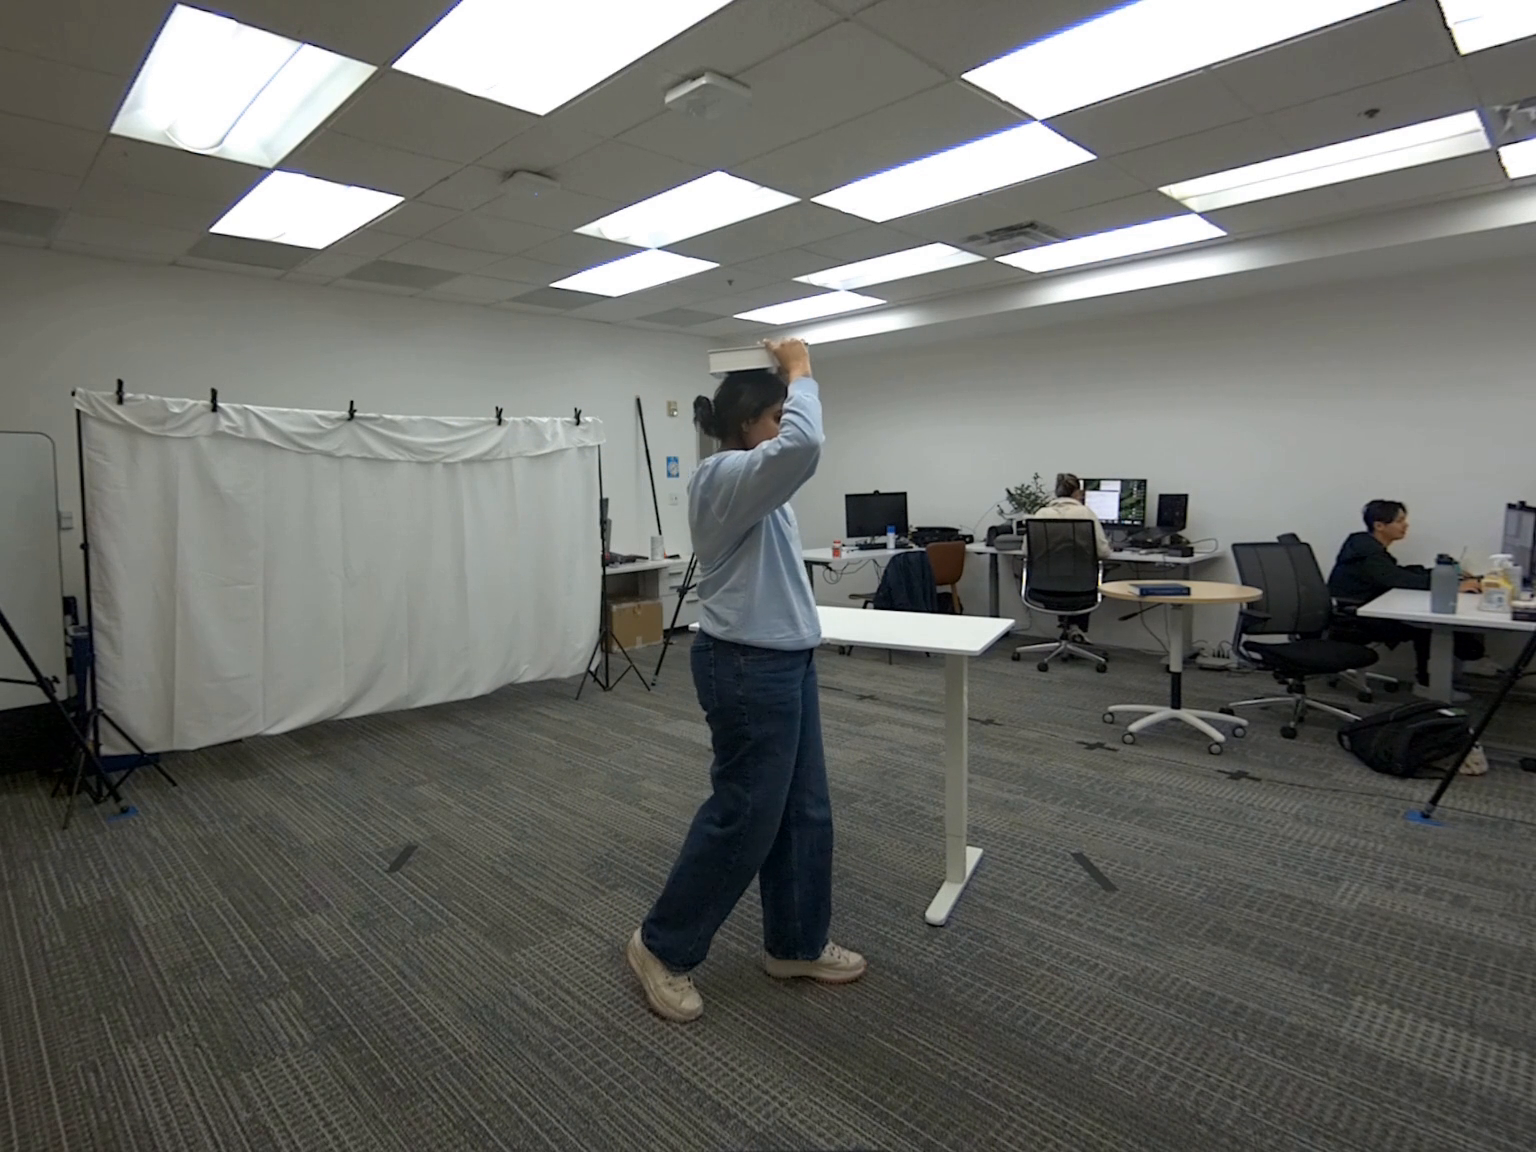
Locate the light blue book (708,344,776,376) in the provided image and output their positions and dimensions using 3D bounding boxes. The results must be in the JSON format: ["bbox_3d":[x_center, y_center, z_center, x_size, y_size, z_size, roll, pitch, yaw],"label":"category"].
[{"bbox_3d":[-0.004,-0.577,2.255,0.262,0.058,0.192,-1,8,4],"label":"light blue book"}]
